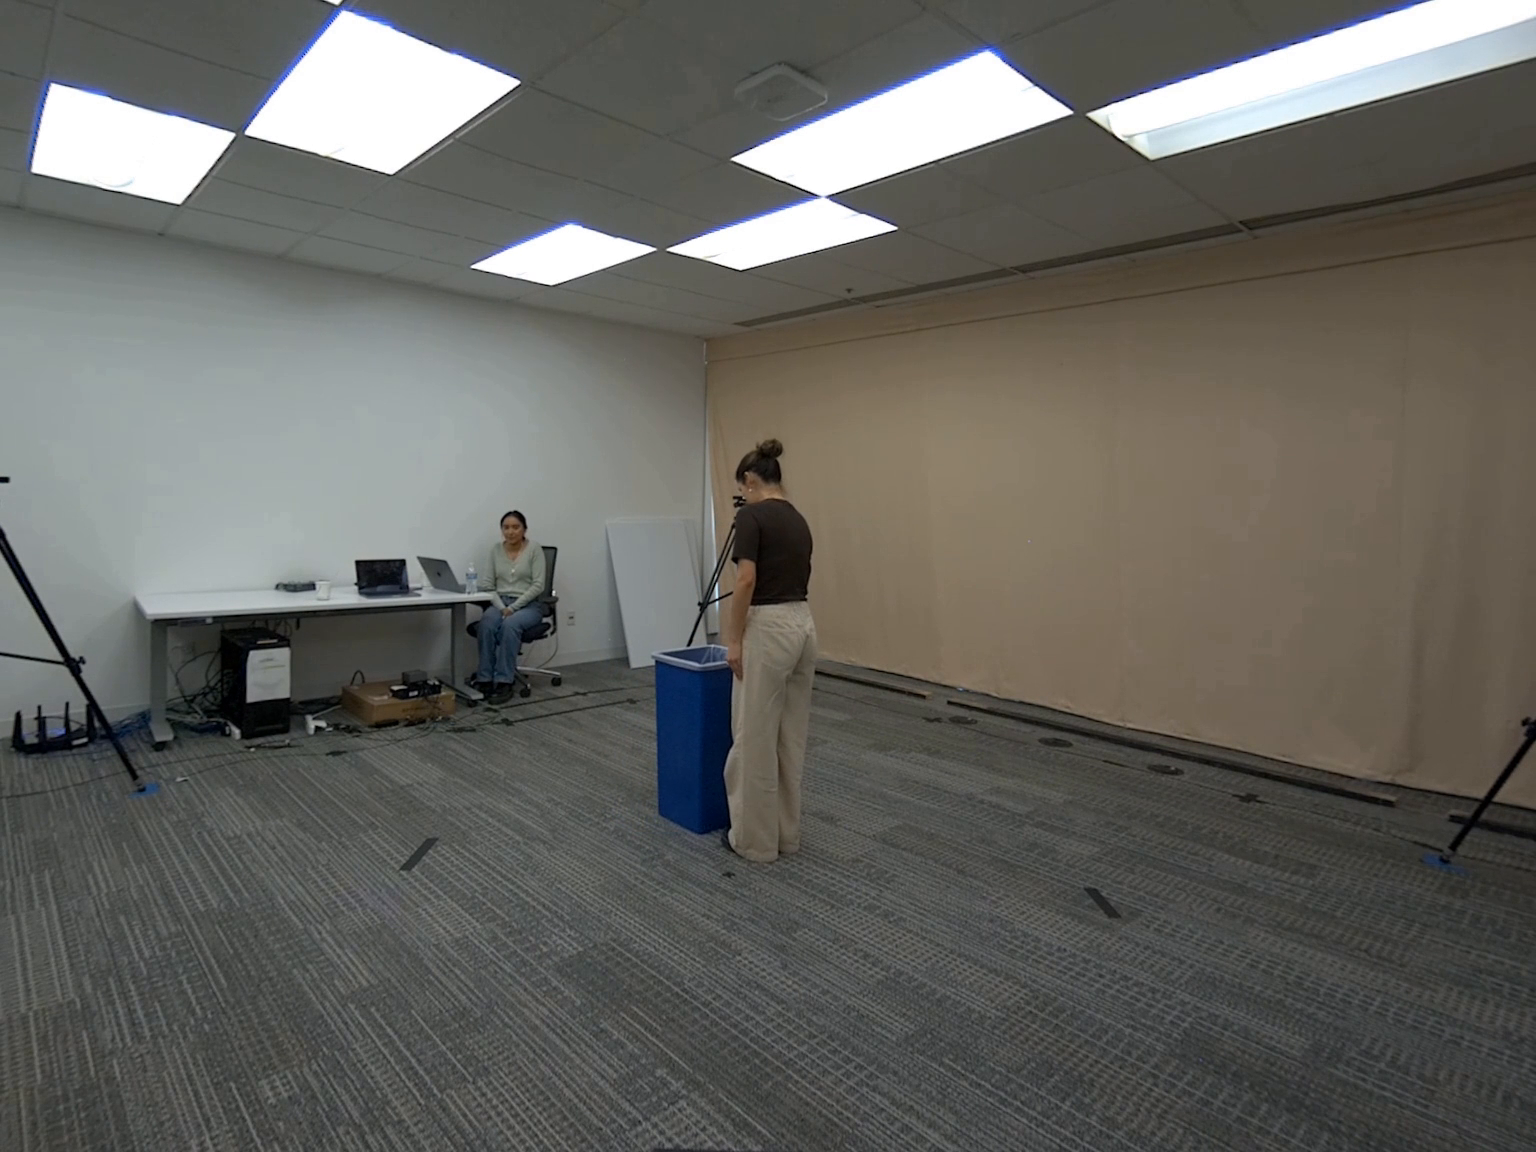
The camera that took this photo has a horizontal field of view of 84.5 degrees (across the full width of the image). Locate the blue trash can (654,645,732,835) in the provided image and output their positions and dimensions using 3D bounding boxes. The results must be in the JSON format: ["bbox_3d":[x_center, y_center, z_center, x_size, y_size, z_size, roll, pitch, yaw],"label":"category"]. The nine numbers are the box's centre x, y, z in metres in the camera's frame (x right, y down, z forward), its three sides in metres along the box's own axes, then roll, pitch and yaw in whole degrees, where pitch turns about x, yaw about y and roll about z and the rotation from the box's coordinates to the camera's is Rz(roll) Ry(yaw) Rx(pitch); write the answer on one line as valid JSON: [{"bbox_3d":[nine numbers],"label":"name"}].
[{"bbox_3d":[-0.282,0.691,3.659,0.369,0.712,0.383,-2,5,-43],"label":"blue trash can"}]
